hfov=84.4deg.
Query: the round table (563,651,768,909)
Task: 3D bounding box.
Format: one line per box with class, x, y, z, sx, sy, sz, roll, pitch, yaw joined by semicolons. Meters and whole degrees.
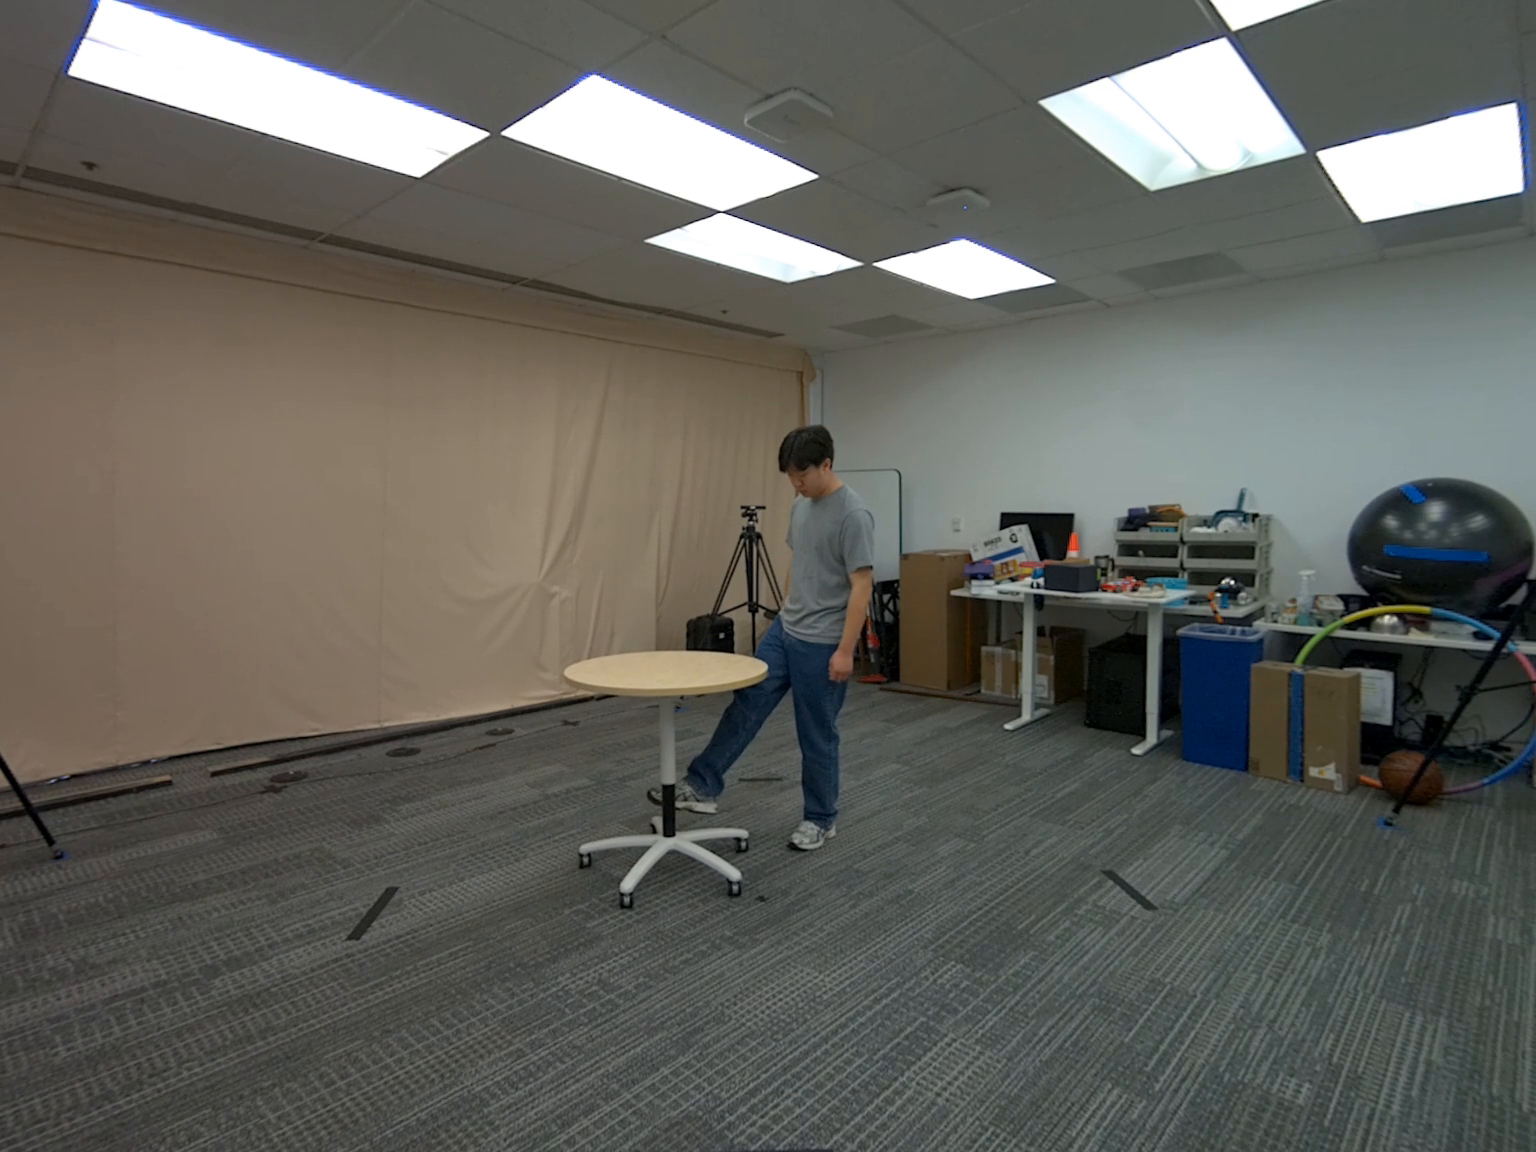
round table;-0.373;0.738;3.195;0.763;0.792;0.766;-1;3;-2
